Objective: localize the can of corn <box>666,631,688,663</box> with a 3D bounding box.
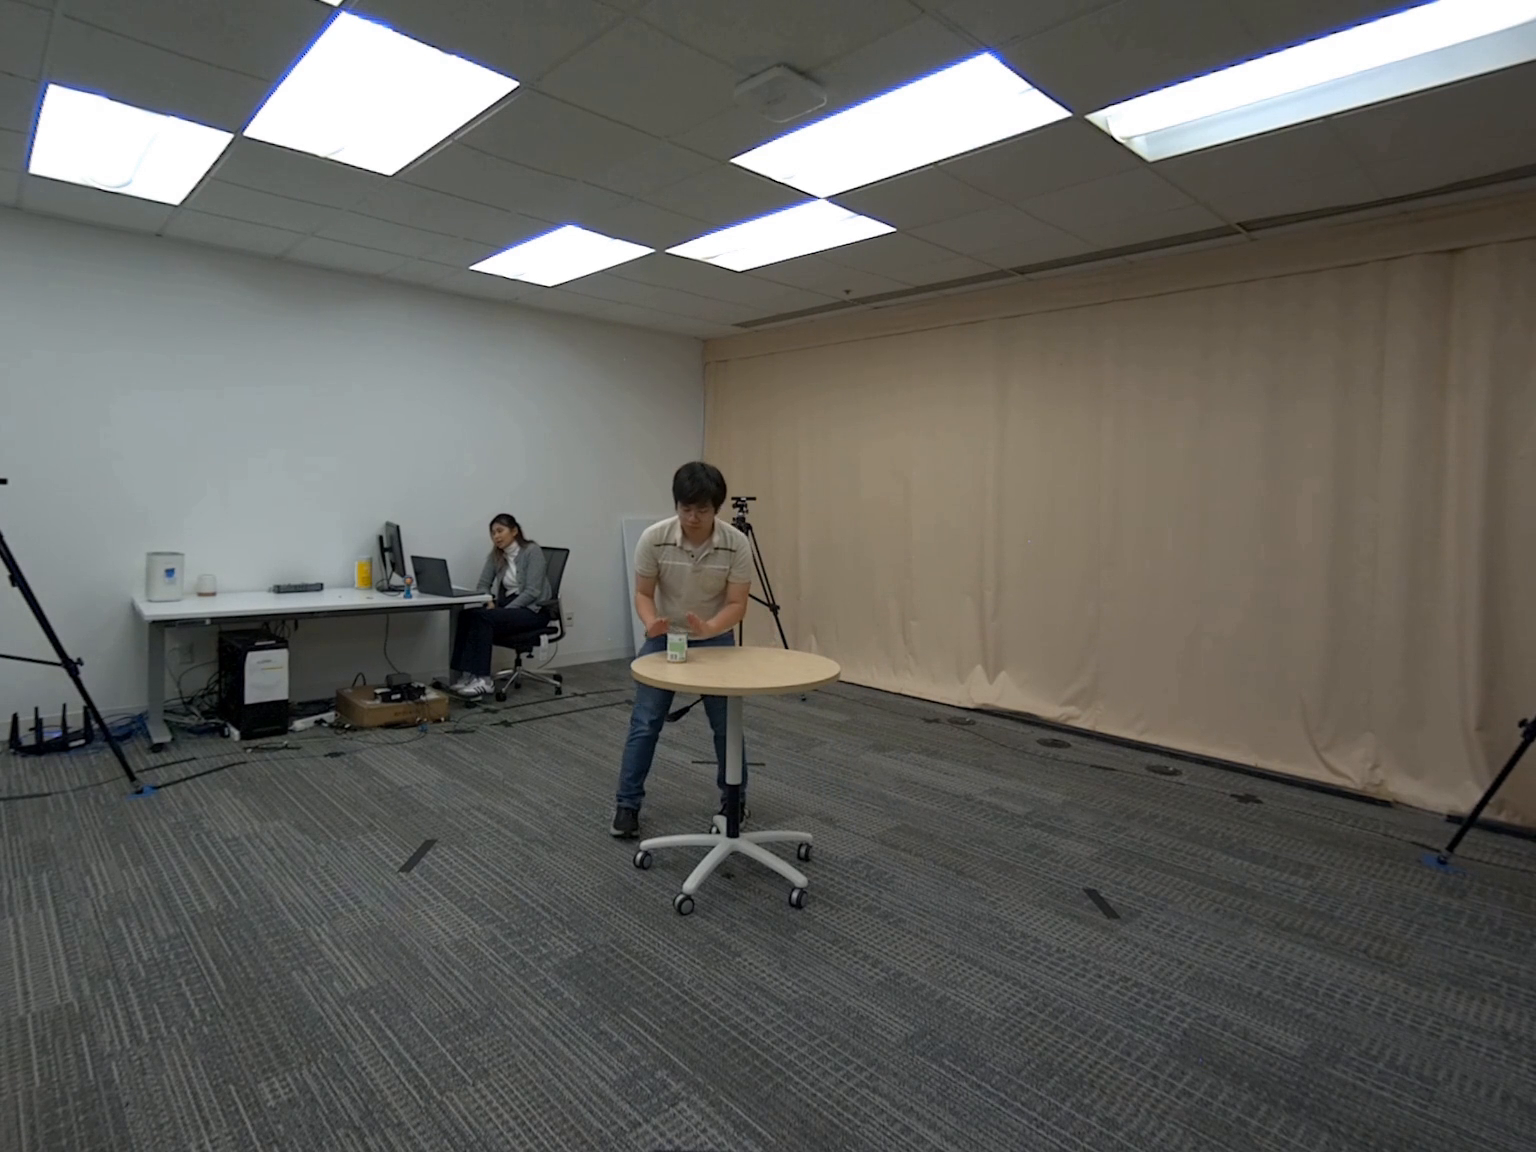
[{"bbox_3d":[-0.358,0.267,3.126,0.074,0.111,0.074,0,0,-1],"label":"can of corn"}]
